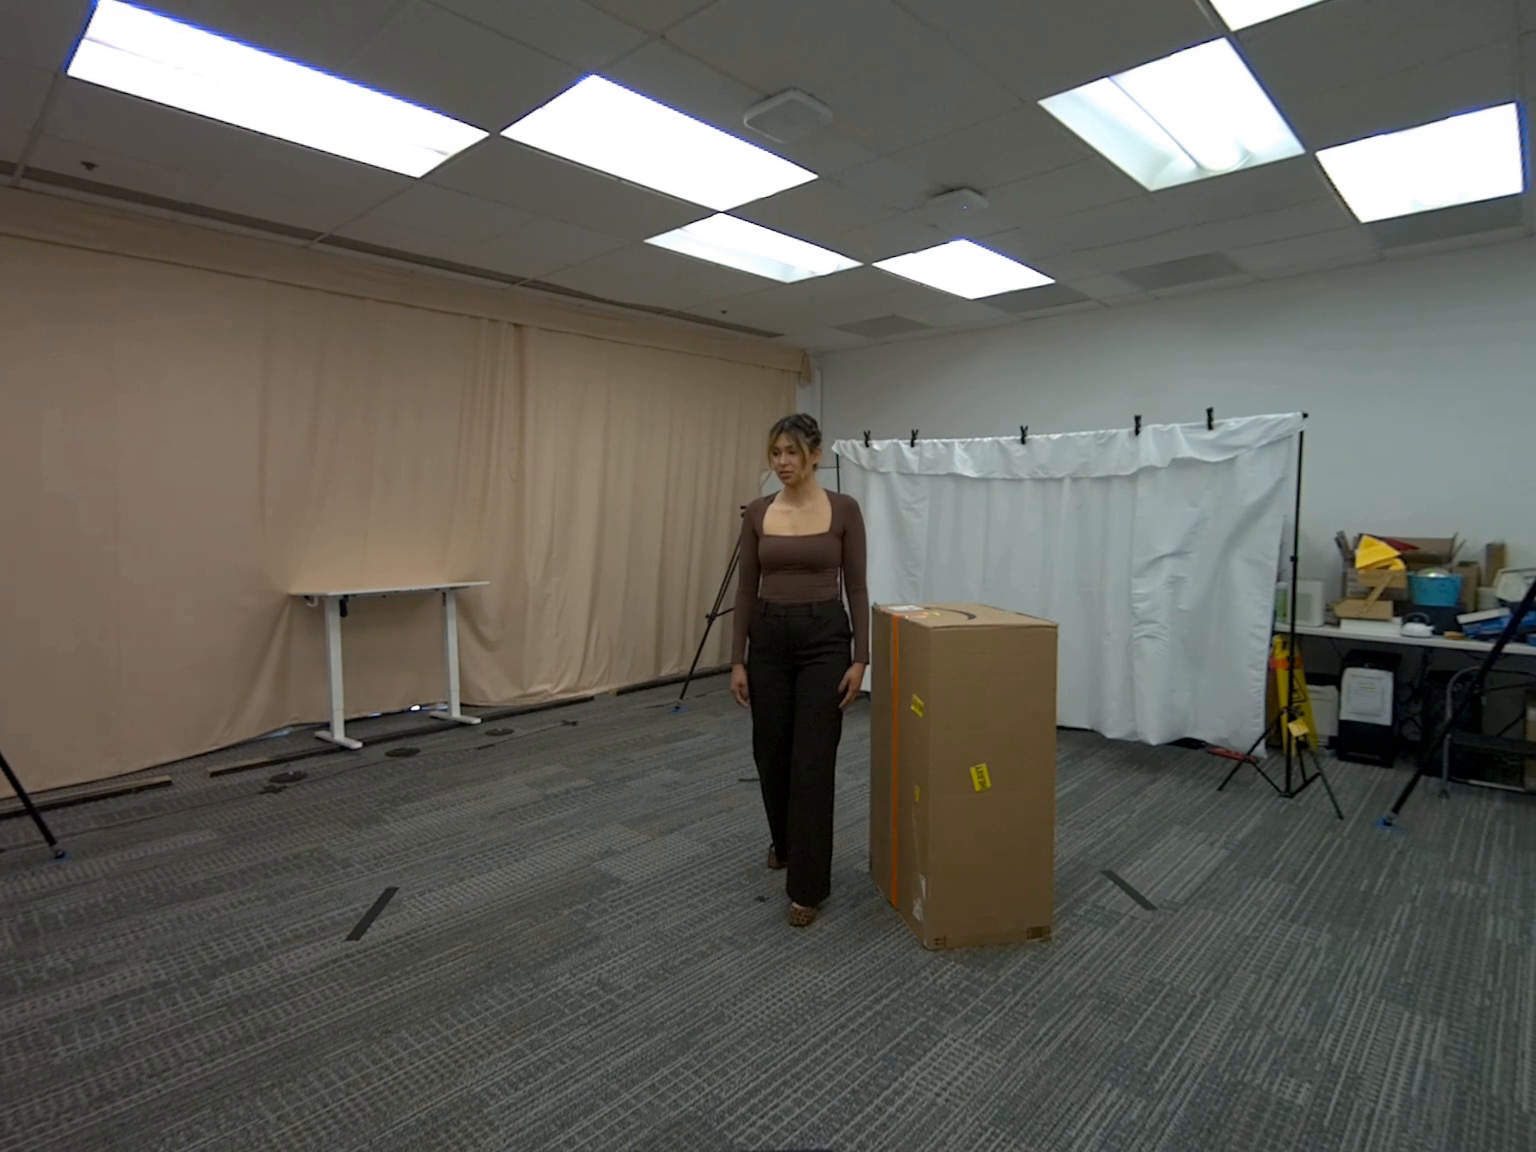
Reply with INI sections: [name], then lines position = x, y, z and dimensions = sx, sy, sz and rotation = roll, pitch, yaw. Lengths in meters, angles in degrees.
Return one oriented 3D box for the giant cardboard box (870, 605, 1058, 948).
[giant cardboard box]
position = 0.658, 0.639, 2.904
dimensions = 0.442, 1.025, 0.592
rotation = 0, 3, -12
